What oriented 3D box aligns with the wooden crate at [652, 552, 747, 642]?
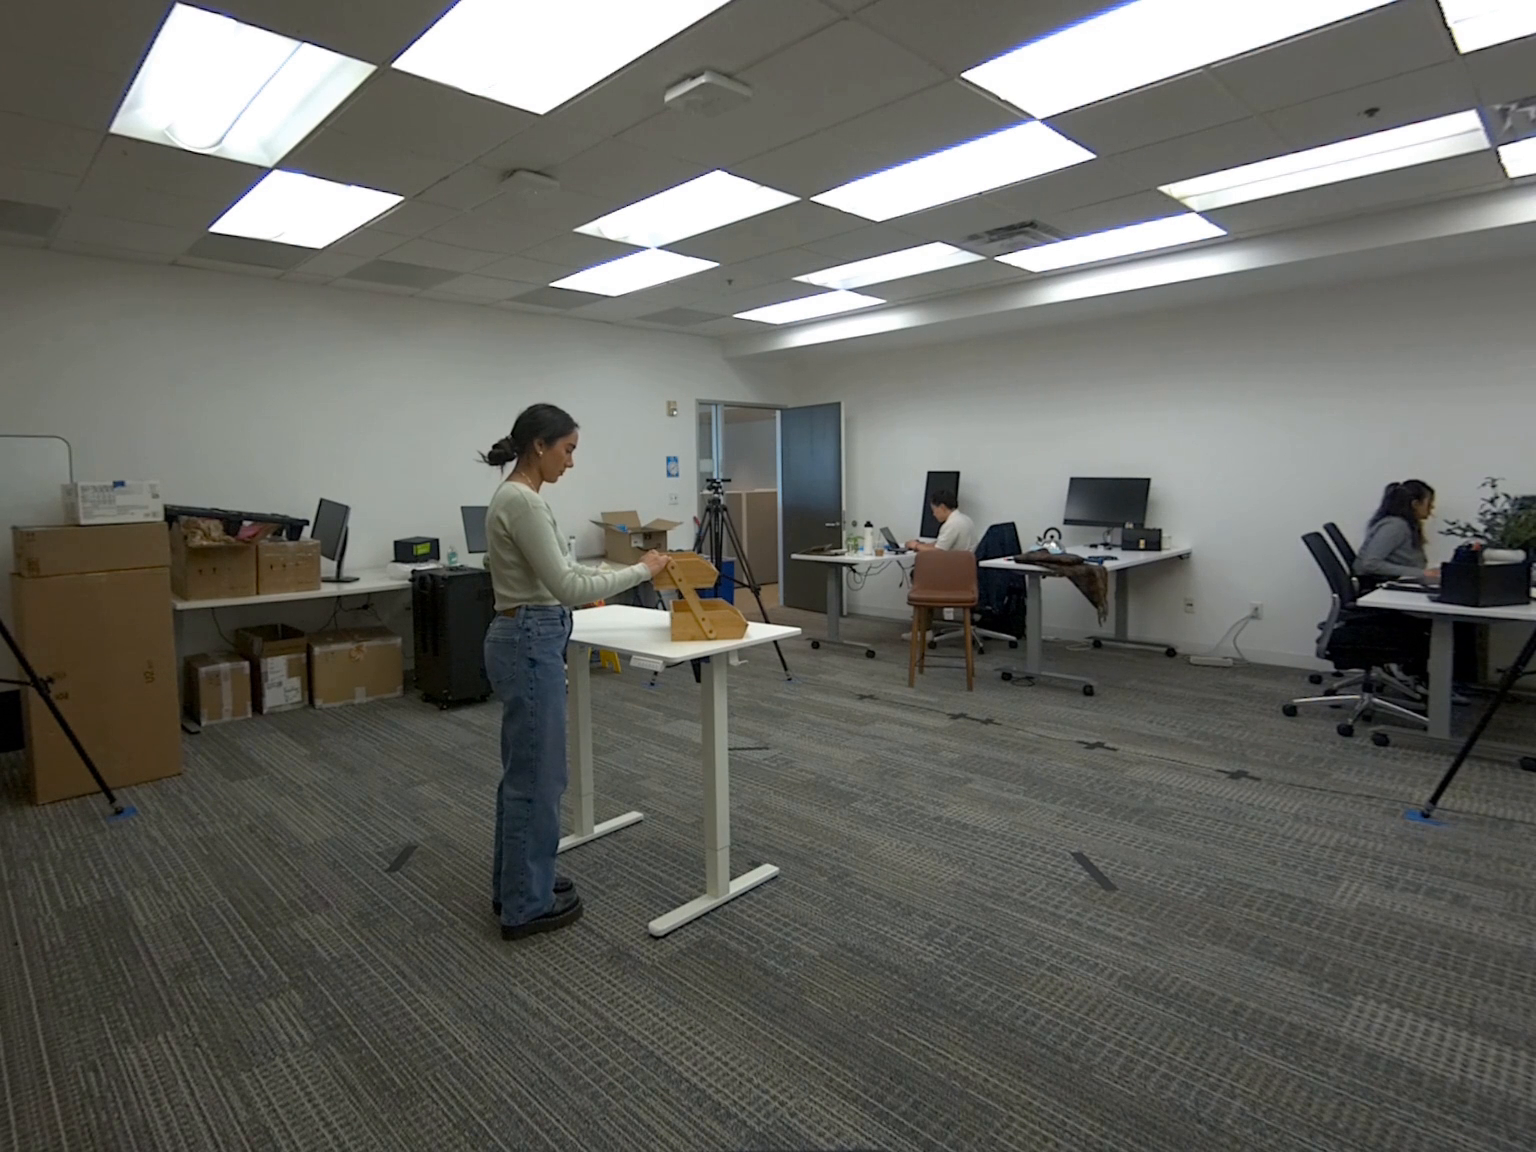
[{"bbox_3d":[-0.230,0.060,2.868,0.300,0.272,0.328,-1,6,-6],"label":"wooden crate"}]
